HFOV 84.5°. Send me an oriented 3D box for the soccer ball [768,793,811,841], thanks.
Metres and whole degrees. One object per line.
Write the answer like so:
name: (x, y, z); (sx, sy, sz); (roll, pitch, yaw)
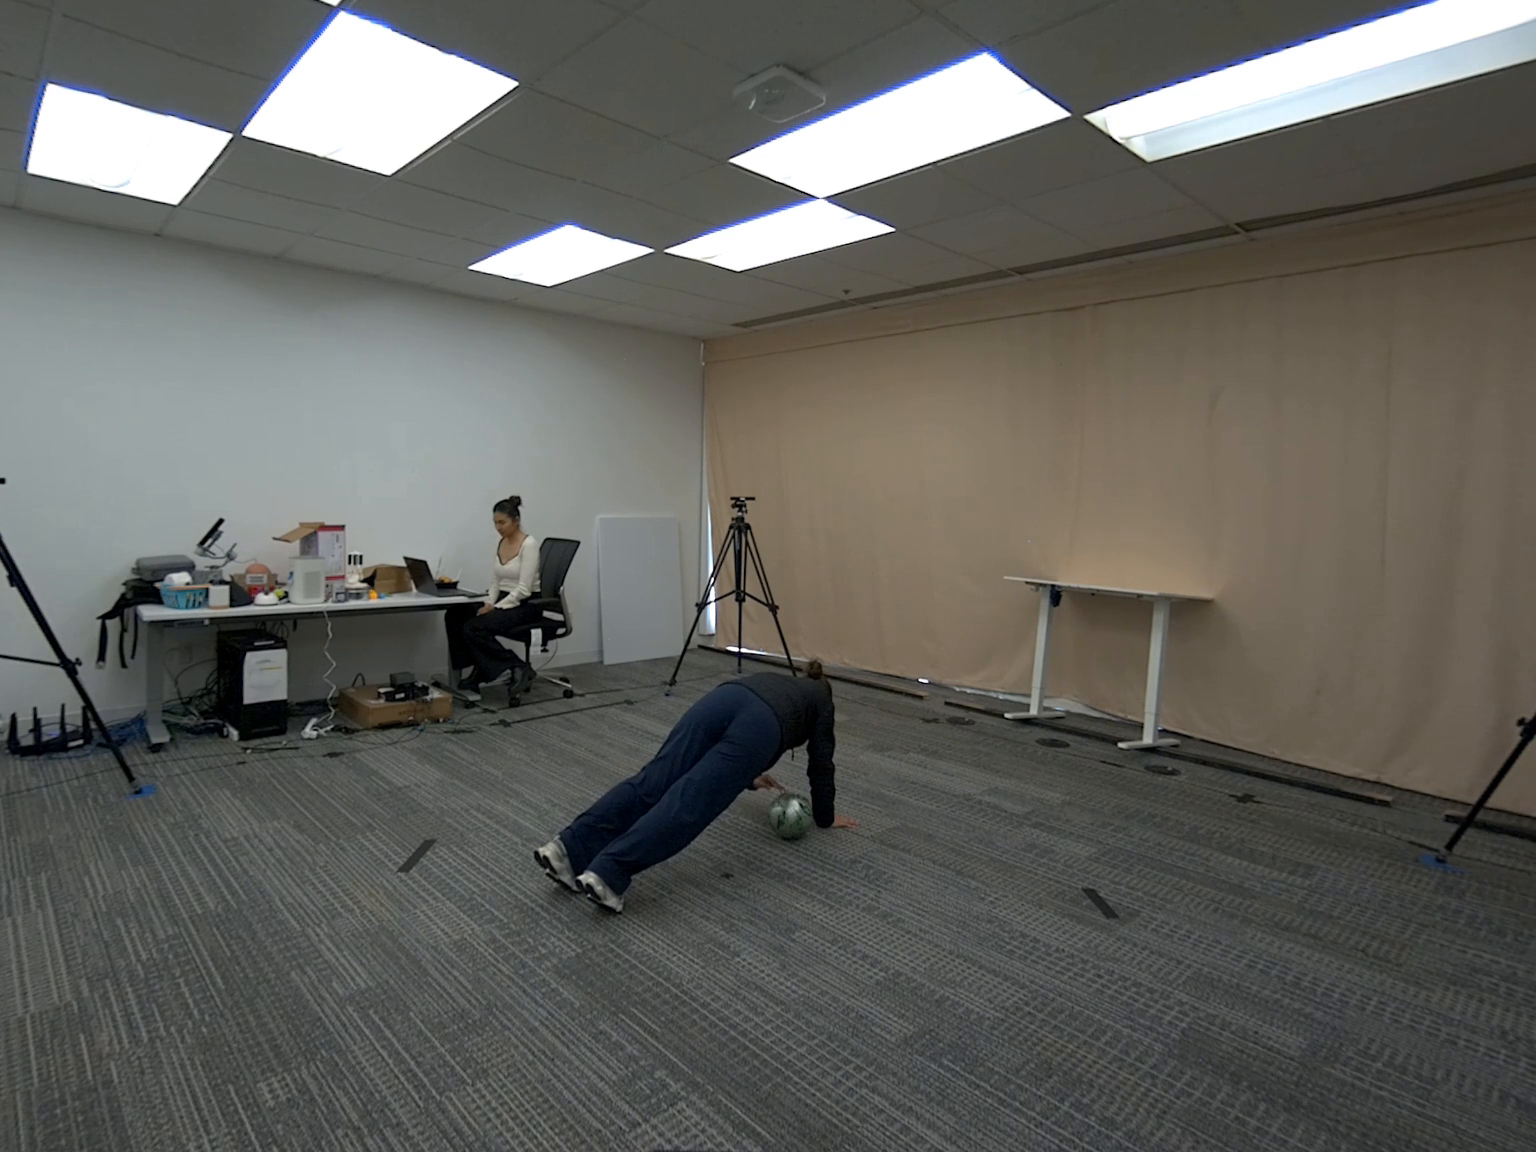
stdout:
soccer ball: (0.083, 0.989, 3.468); (0.187, 0.187, 0.188); (1, 4, -1)
